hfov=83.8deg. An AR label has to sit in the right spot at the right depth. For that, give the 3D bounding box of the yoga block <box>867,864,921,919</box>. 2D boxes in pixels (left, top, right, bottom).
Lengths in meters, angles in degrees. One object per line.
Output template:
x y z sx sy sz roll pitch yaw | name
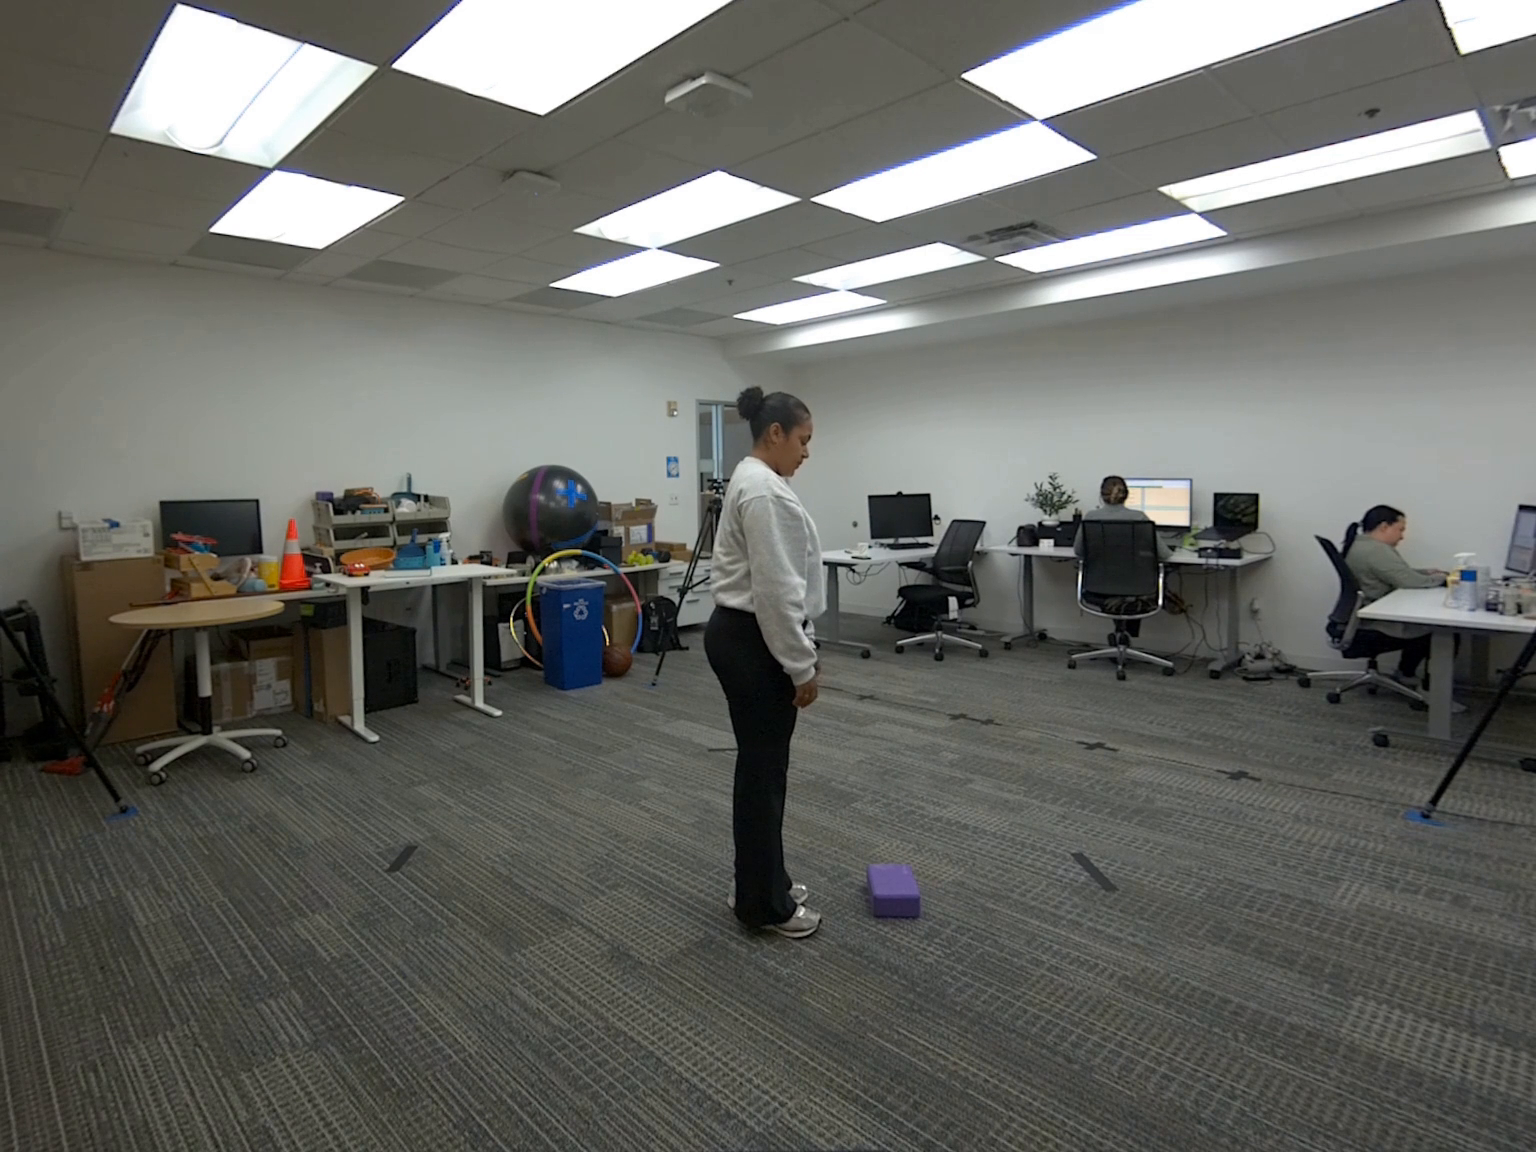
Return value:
0.415 1.033 2.809 0.149 0.076 0.229 -1 6 3 | yoga block
